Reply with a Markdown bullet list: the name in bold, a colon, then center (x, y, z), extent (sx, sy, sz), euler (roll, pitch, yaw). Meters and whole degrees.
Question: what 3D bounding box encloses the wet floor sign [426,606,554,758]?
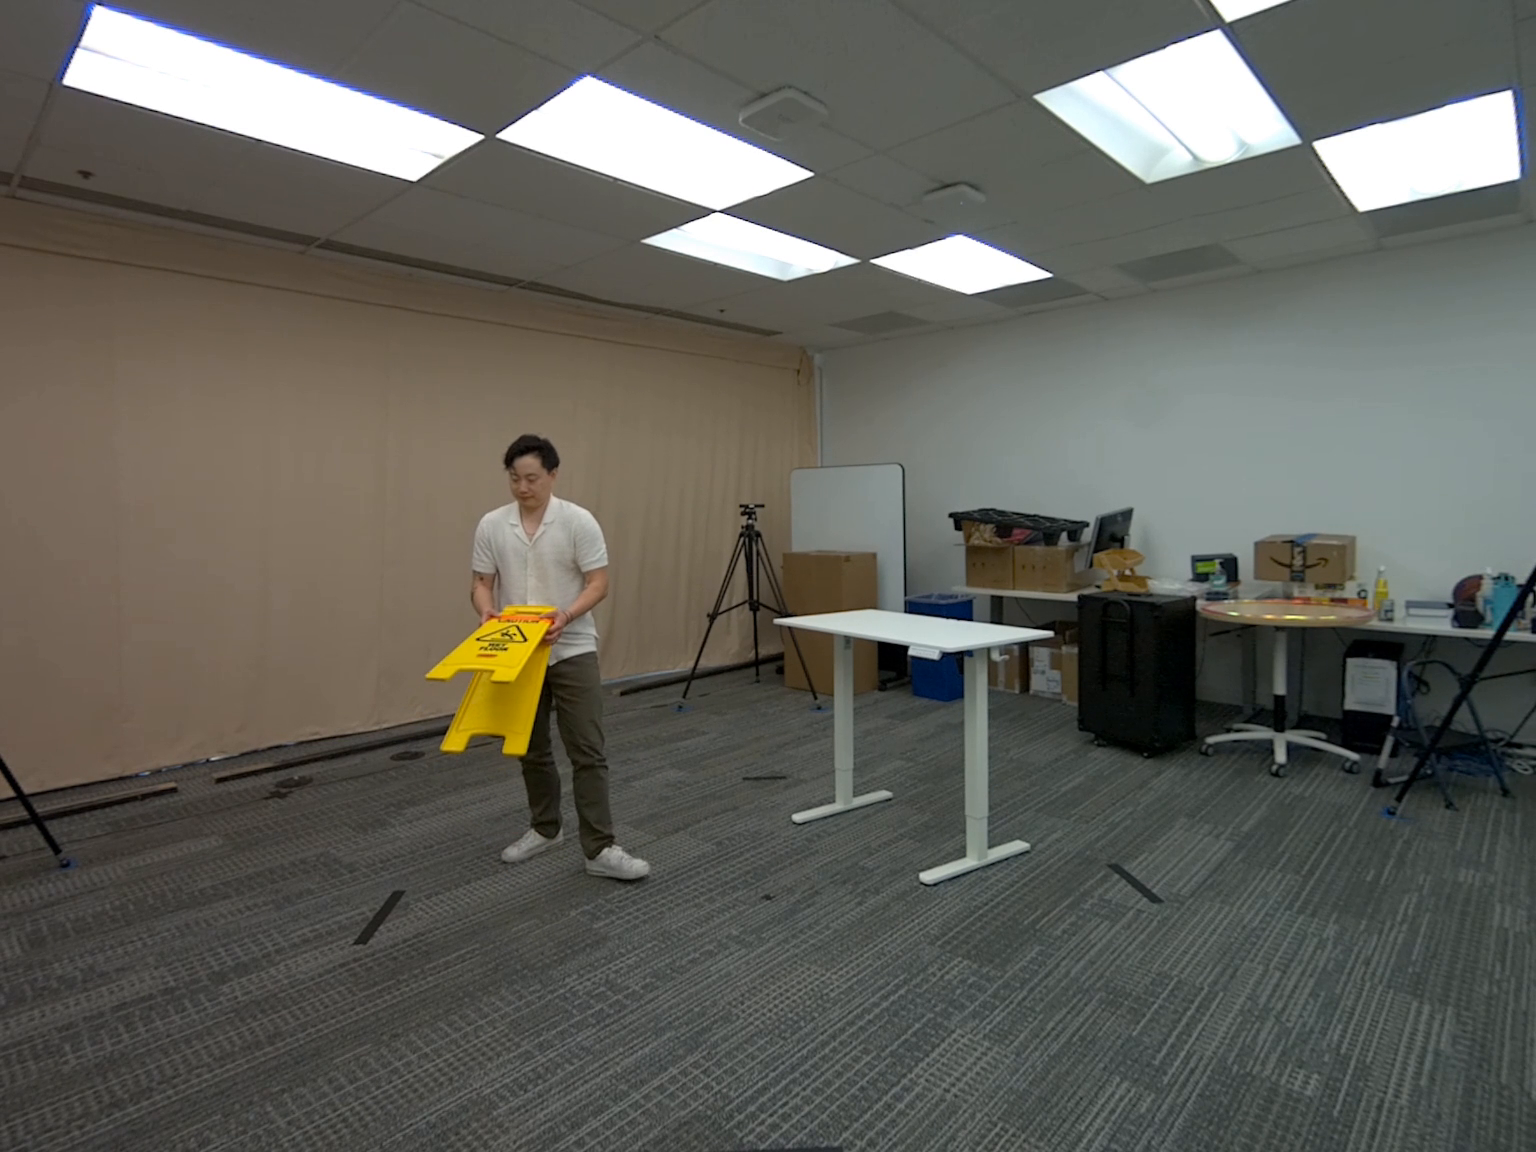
- **wet floor sign**: center (-0.859, 0.276, 2.880), extent (0.284, 0.285, 0.653), euler (1, 29, 3)
